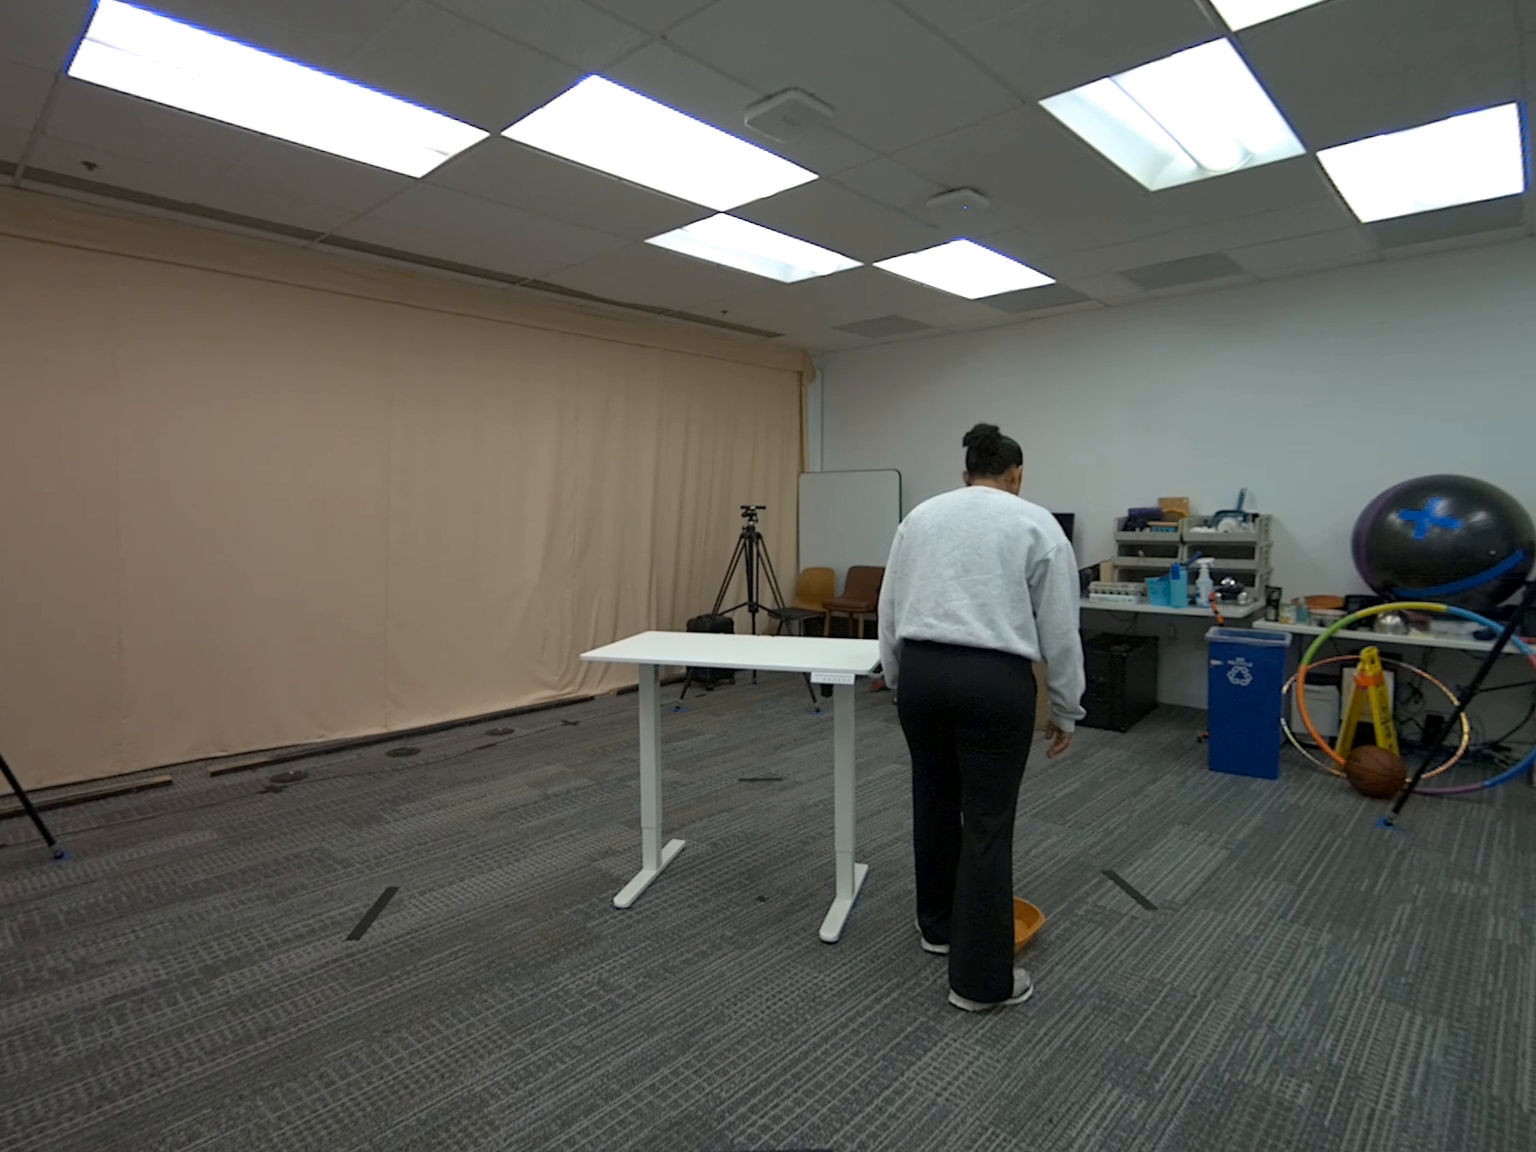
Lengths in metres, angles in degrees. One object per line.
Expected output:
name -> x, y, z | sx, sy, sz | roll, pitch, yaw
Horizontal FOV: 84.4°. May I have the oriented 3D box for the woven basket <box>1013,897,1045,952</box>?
woven basket -> 0.732, 1.128, 2.697 | 0.339, 0.073, 0.261 | -3, 6, -42
